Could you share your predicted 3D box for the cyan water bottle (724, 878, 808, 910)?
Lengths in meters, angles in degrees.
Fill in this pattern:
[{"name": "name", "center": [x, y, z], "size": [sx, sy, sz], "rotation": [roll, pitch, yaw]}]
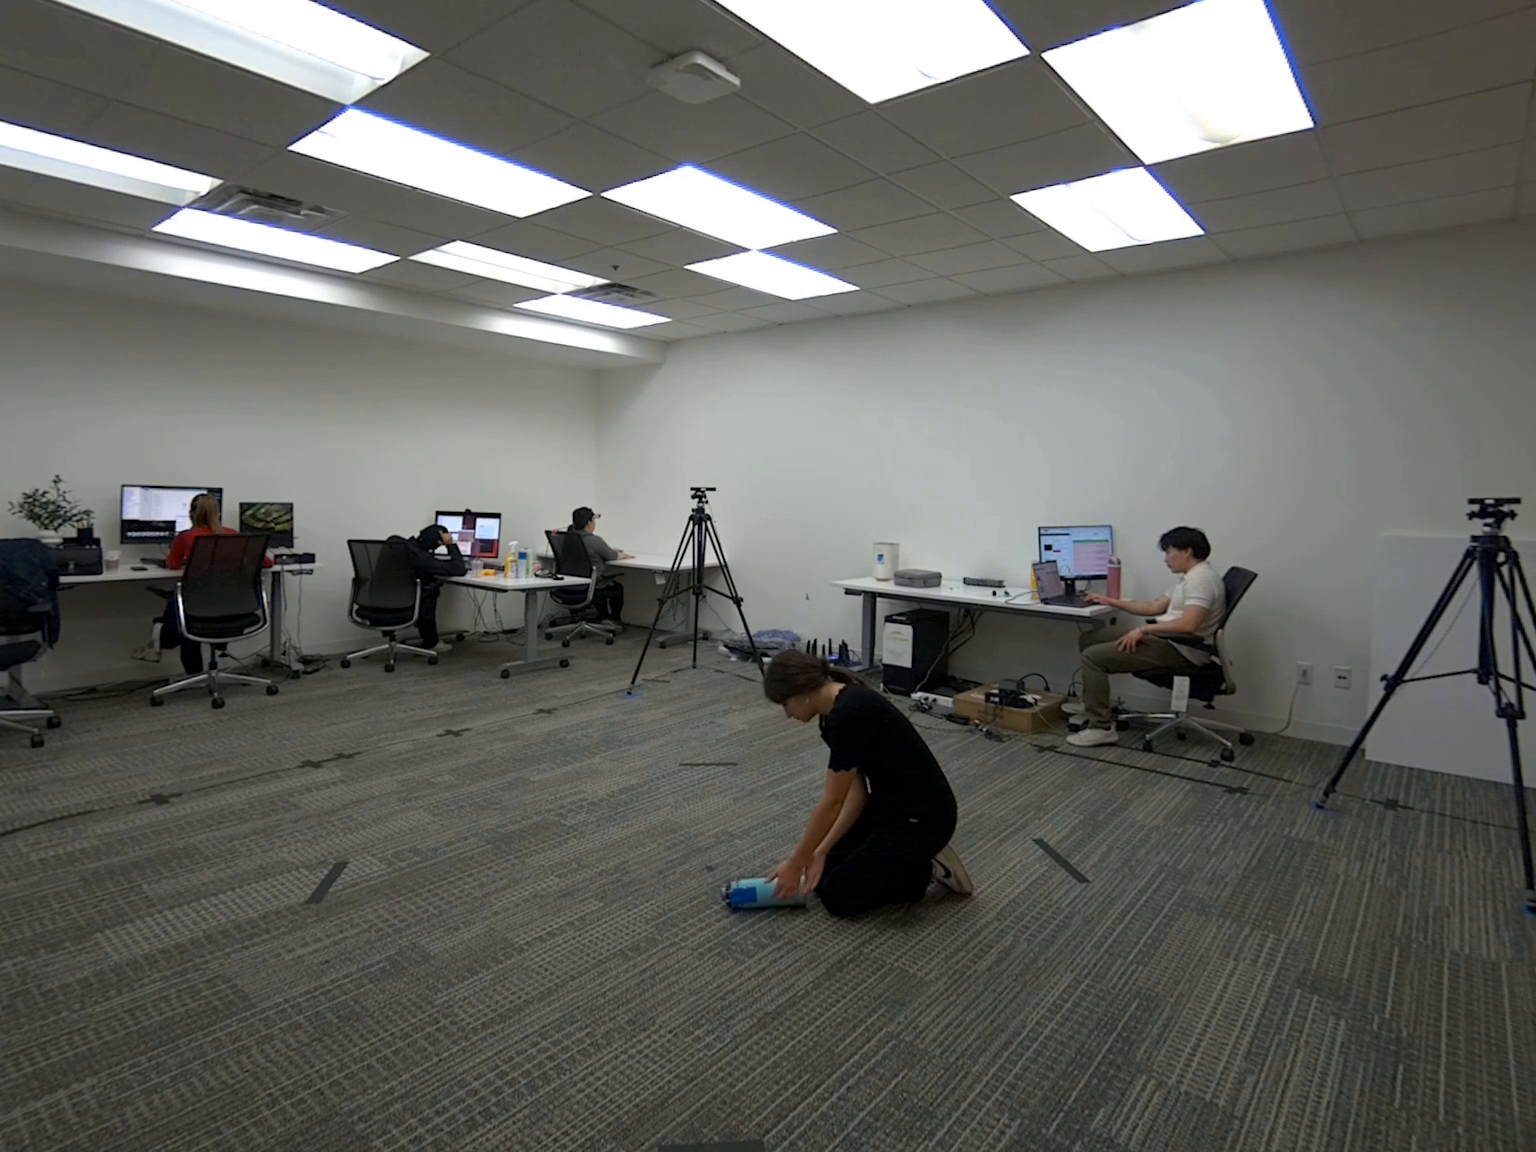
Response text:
[{"name": "cyan water bottle", "center": [-0.022, 1.051, 2.835], "size": [0.280, 0.092, 0.093], "rotation": [1, 4, -10]}]
